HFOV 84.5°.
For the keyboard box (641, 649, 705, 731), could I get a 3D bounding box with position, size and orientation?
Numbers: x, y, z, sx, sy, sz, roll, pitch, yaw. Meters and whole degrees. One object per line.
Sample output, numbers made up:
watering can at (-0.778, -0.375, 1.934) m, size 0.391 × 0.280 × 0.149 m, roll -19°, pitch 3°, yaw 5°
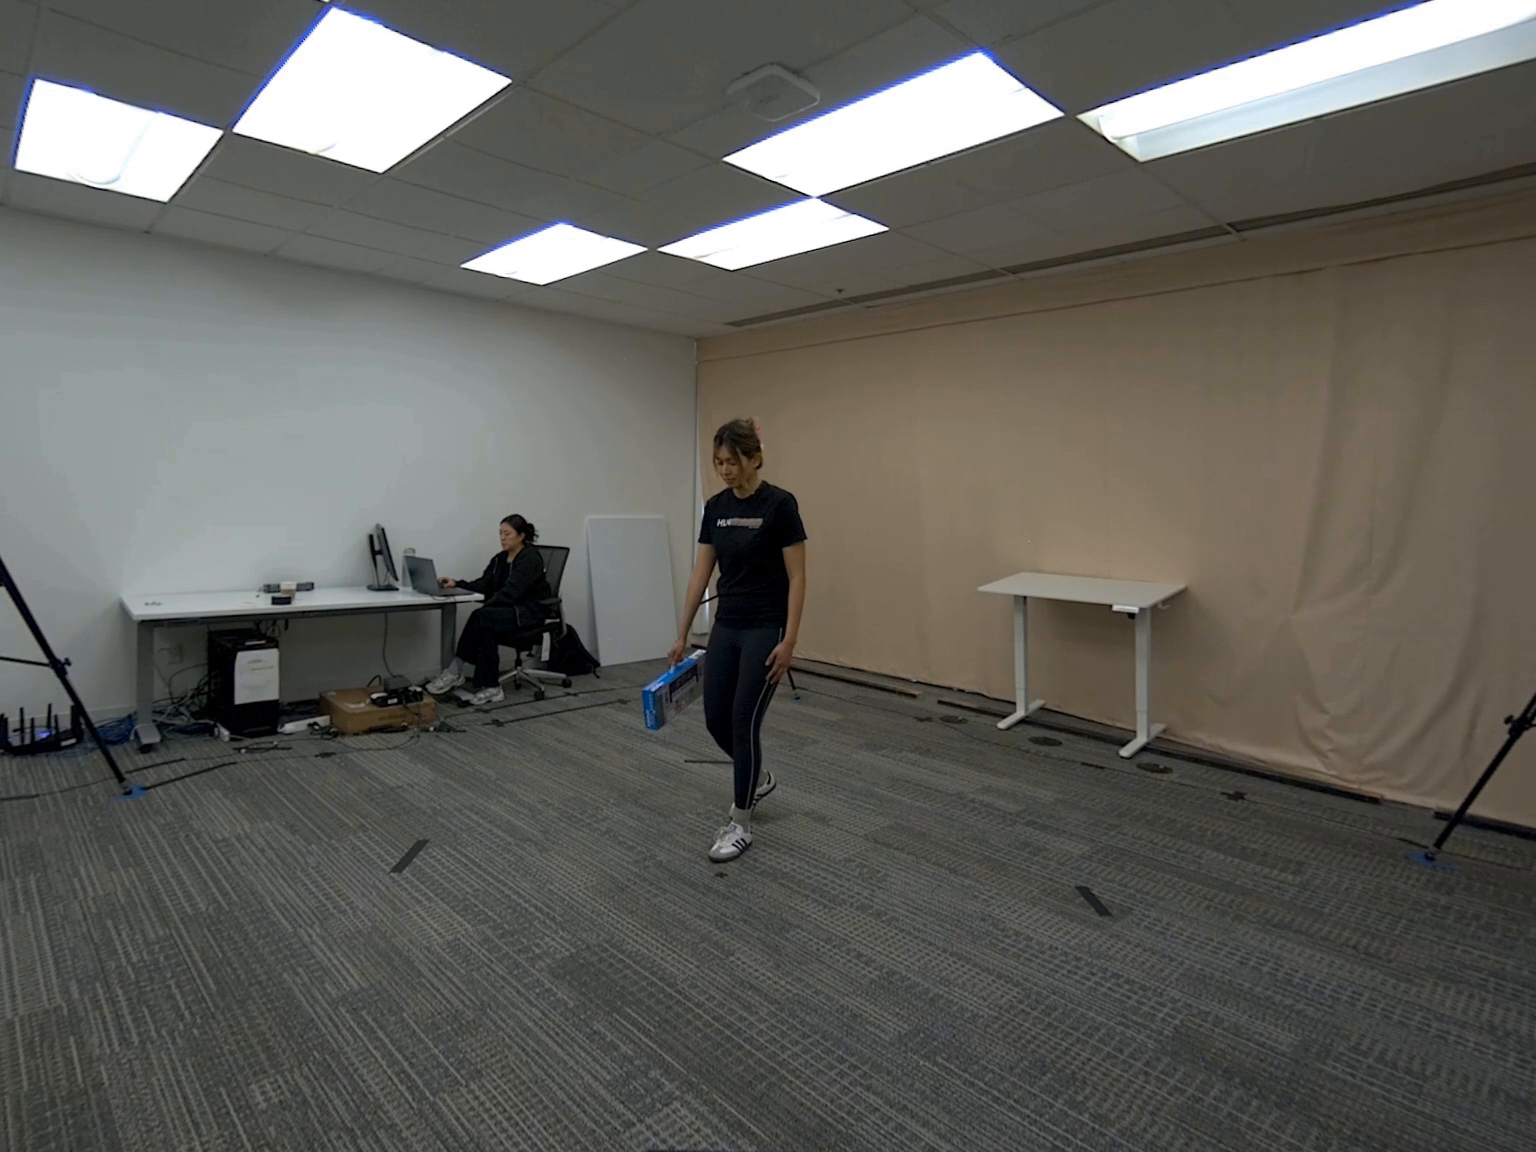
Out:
keyboard box at (-0.375, 0.471, 3.506) m, size 0.060 × 0.174 × 0.433 m, roll 4°, pitch 18°, yaw 25°
